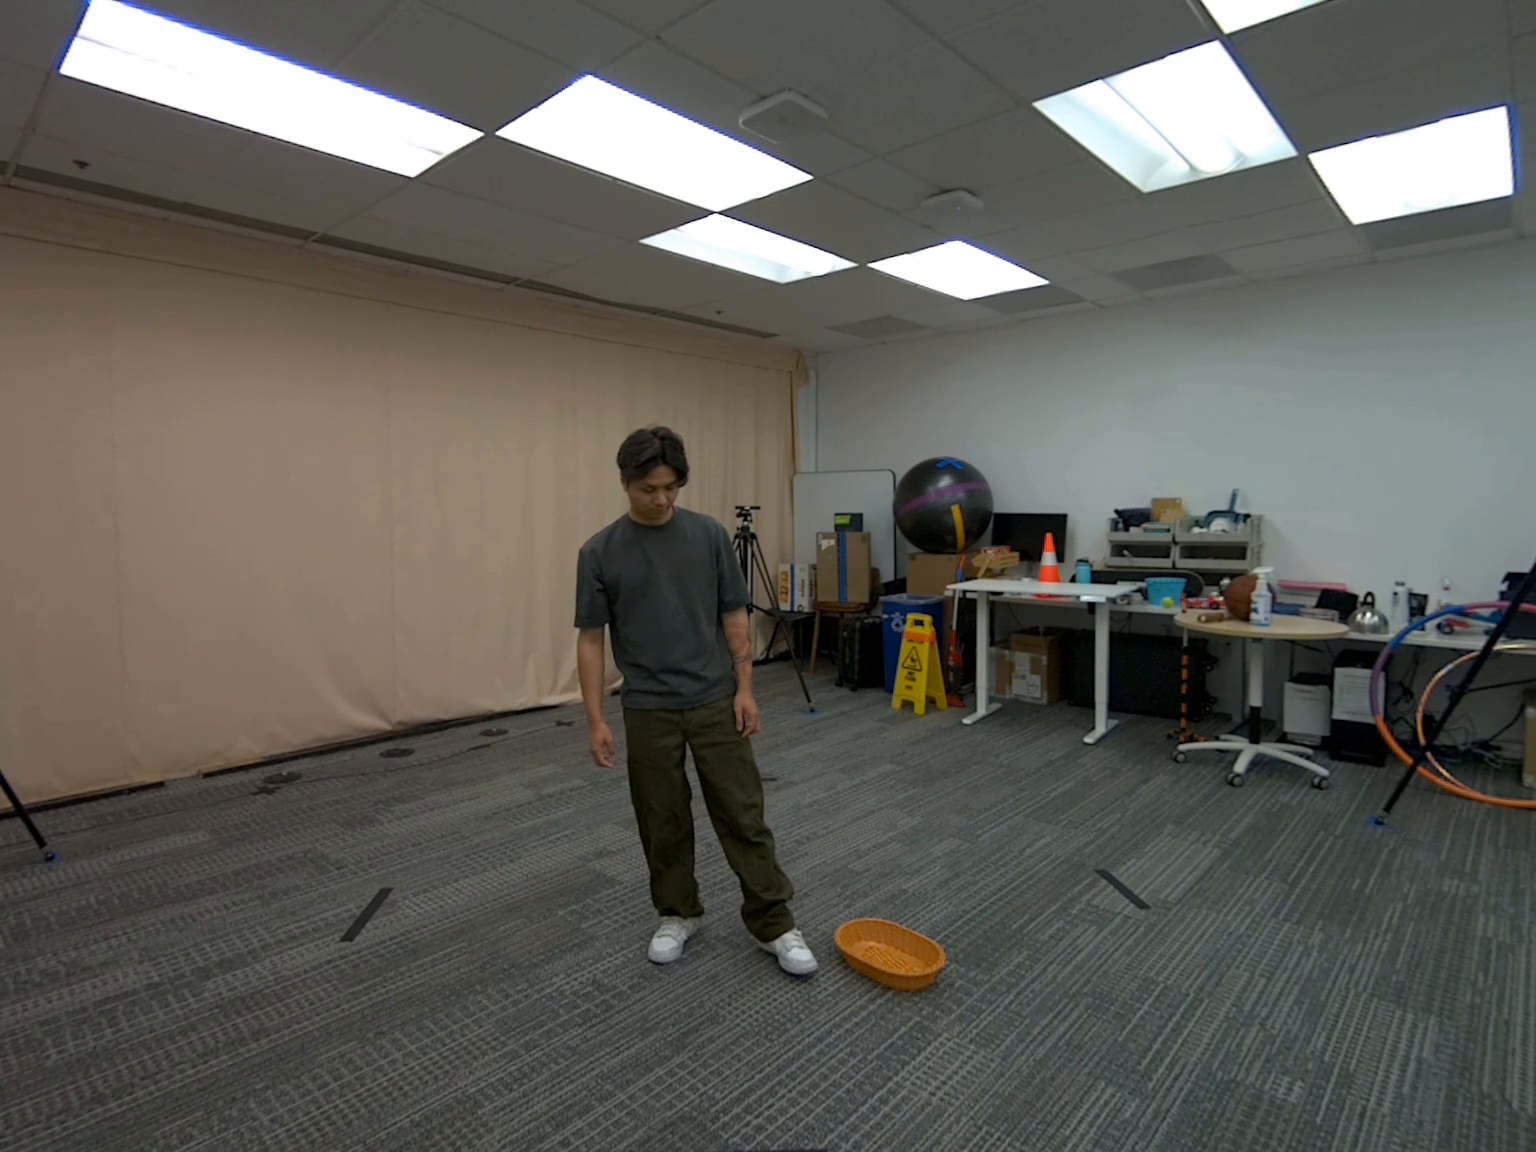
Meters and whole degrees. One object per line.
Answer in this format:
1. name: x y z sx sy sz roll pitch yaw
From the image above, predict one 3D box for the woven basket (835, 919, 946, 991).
1. woven basket: 0.363 1.142 2.537 0.245 0.073 0.362 -4 6 -41
